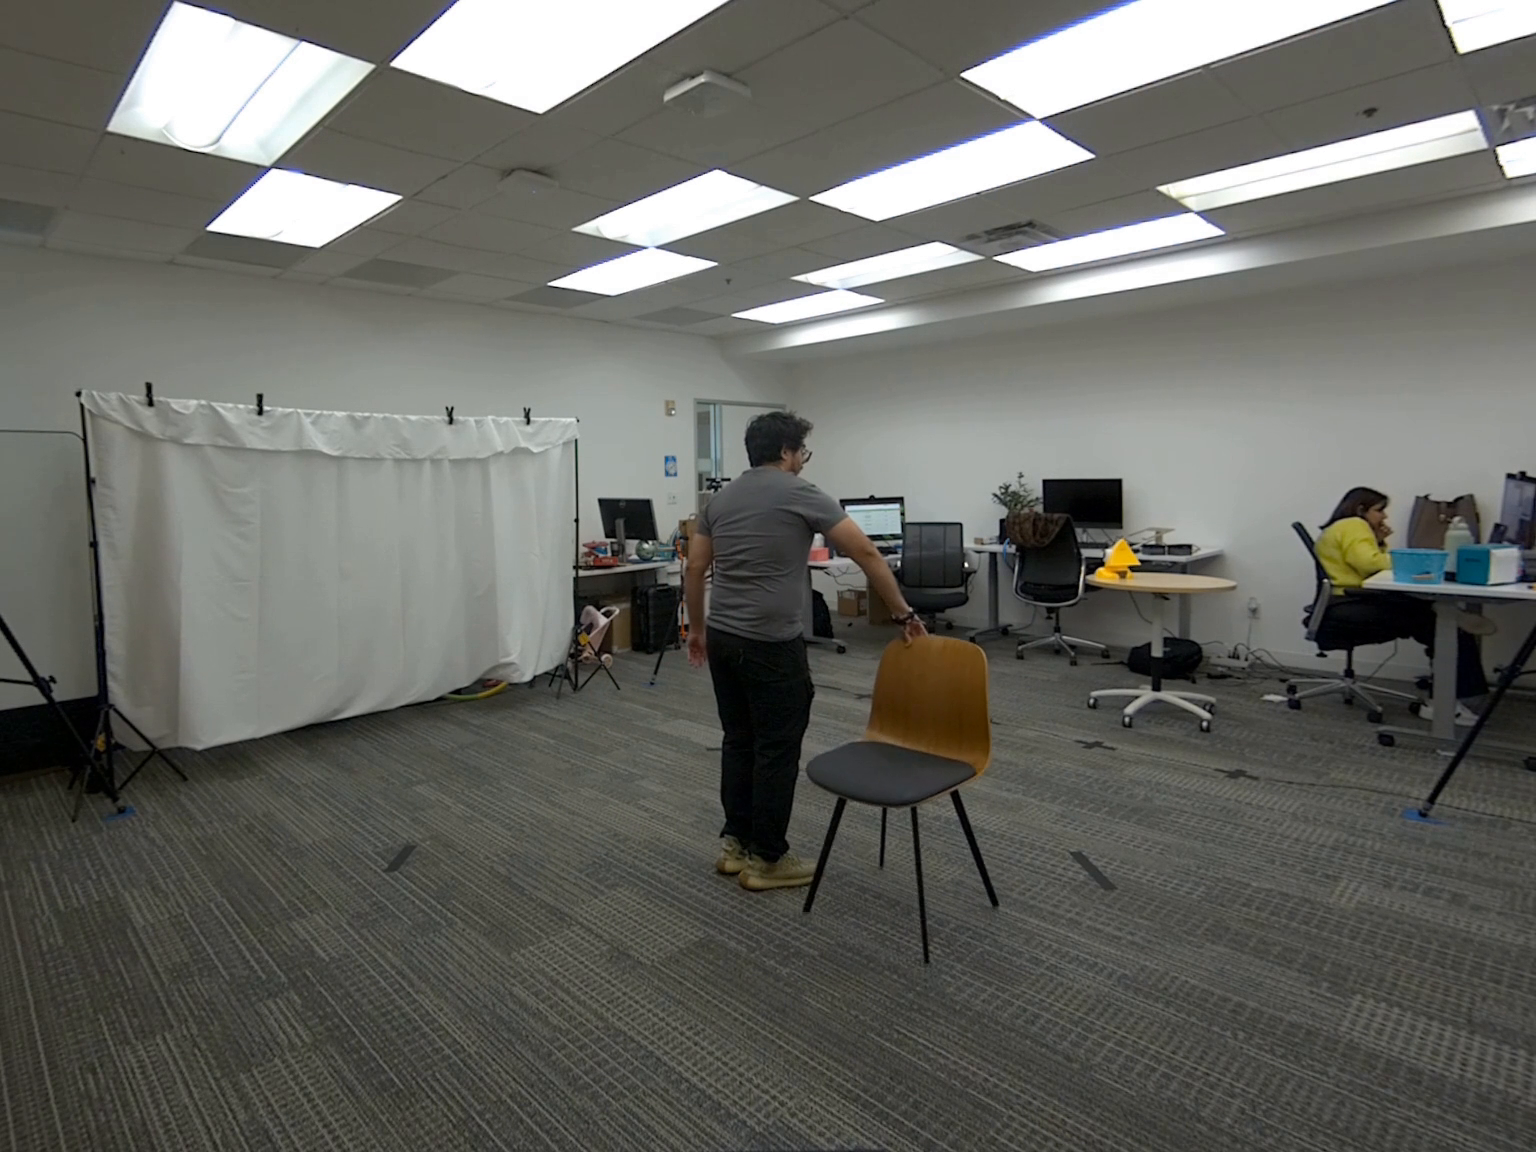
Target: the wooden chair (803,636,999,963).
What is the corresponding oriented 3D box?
[{"bbox_3d":[0.416,0.650,2.713,0.493,0.877,0.508,3,1,42],"label":"wooden chair"}]
